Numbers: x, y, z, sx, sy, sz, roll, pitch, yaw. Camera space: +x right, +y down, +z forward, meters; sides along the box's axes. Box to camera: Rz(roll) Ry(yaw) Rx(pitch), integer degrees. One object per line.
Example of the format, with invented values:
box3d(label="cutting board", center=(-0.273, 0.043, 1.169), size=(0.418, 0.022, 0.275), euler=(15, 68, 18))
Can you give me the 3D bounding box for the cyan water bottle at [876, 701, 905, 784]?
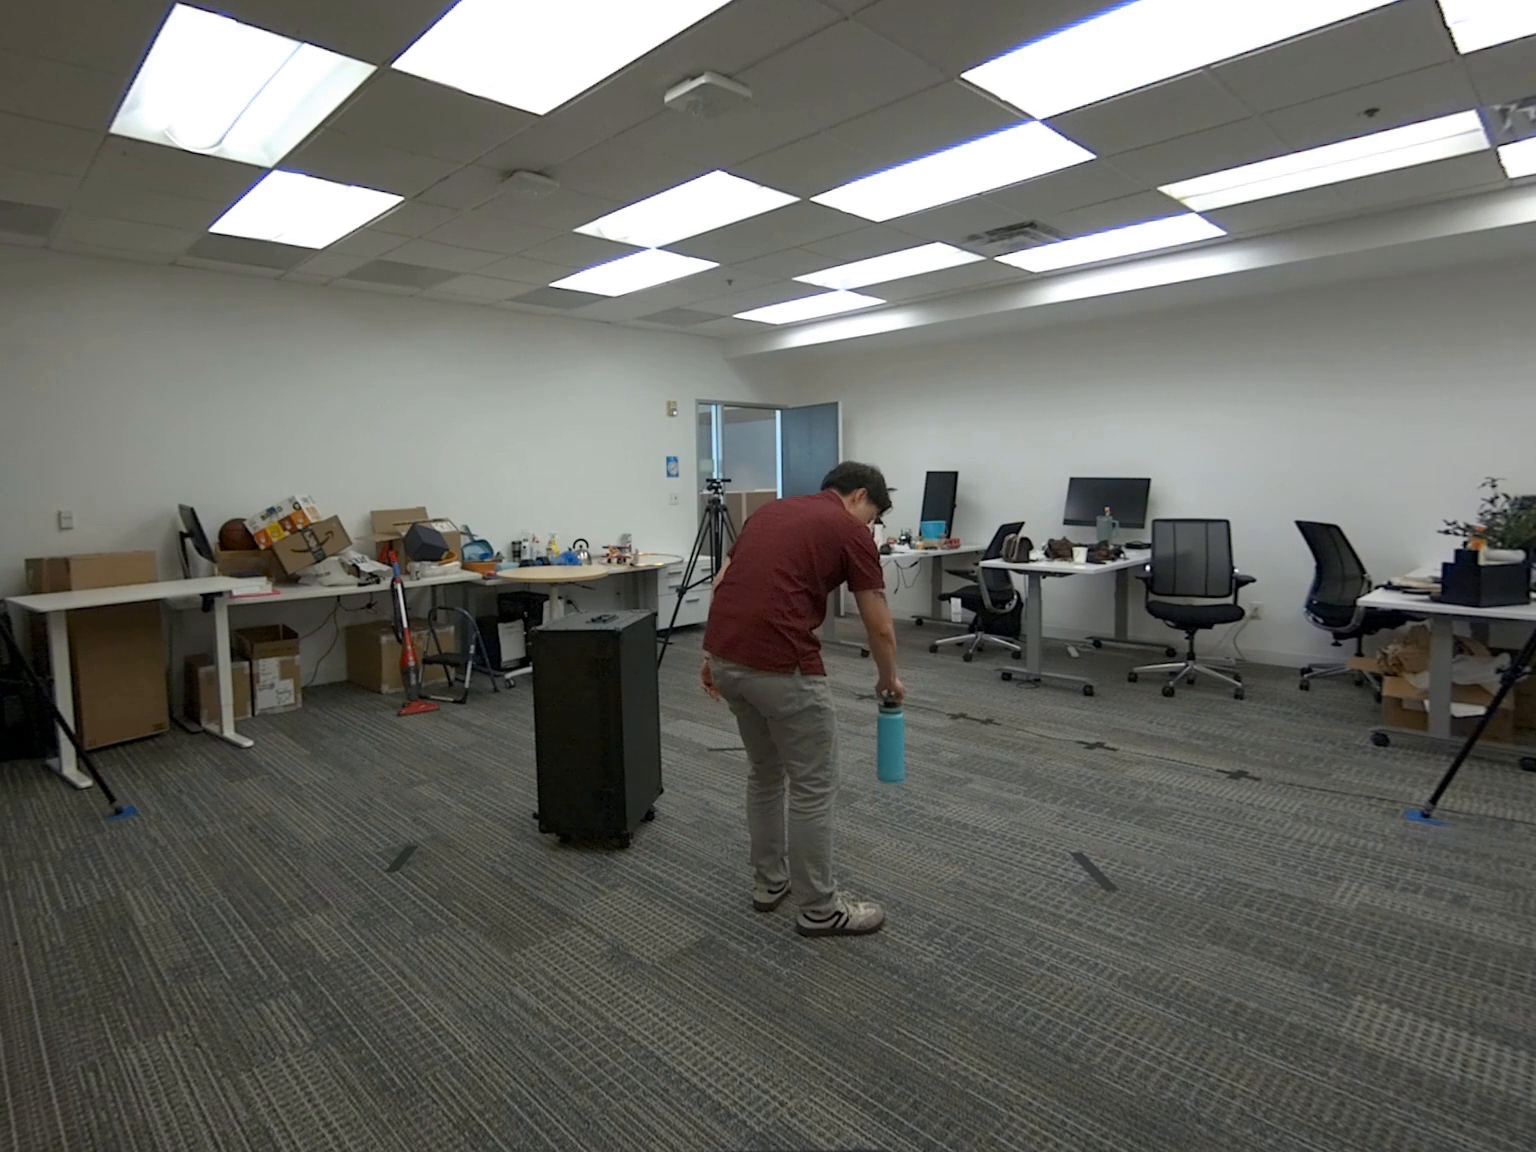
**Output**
box3d(label="cyan water bottle", center=(0.405, 0.539, 2.863), size=(0.092, 0.283, 0.092), euler=(1, 0, -2))
